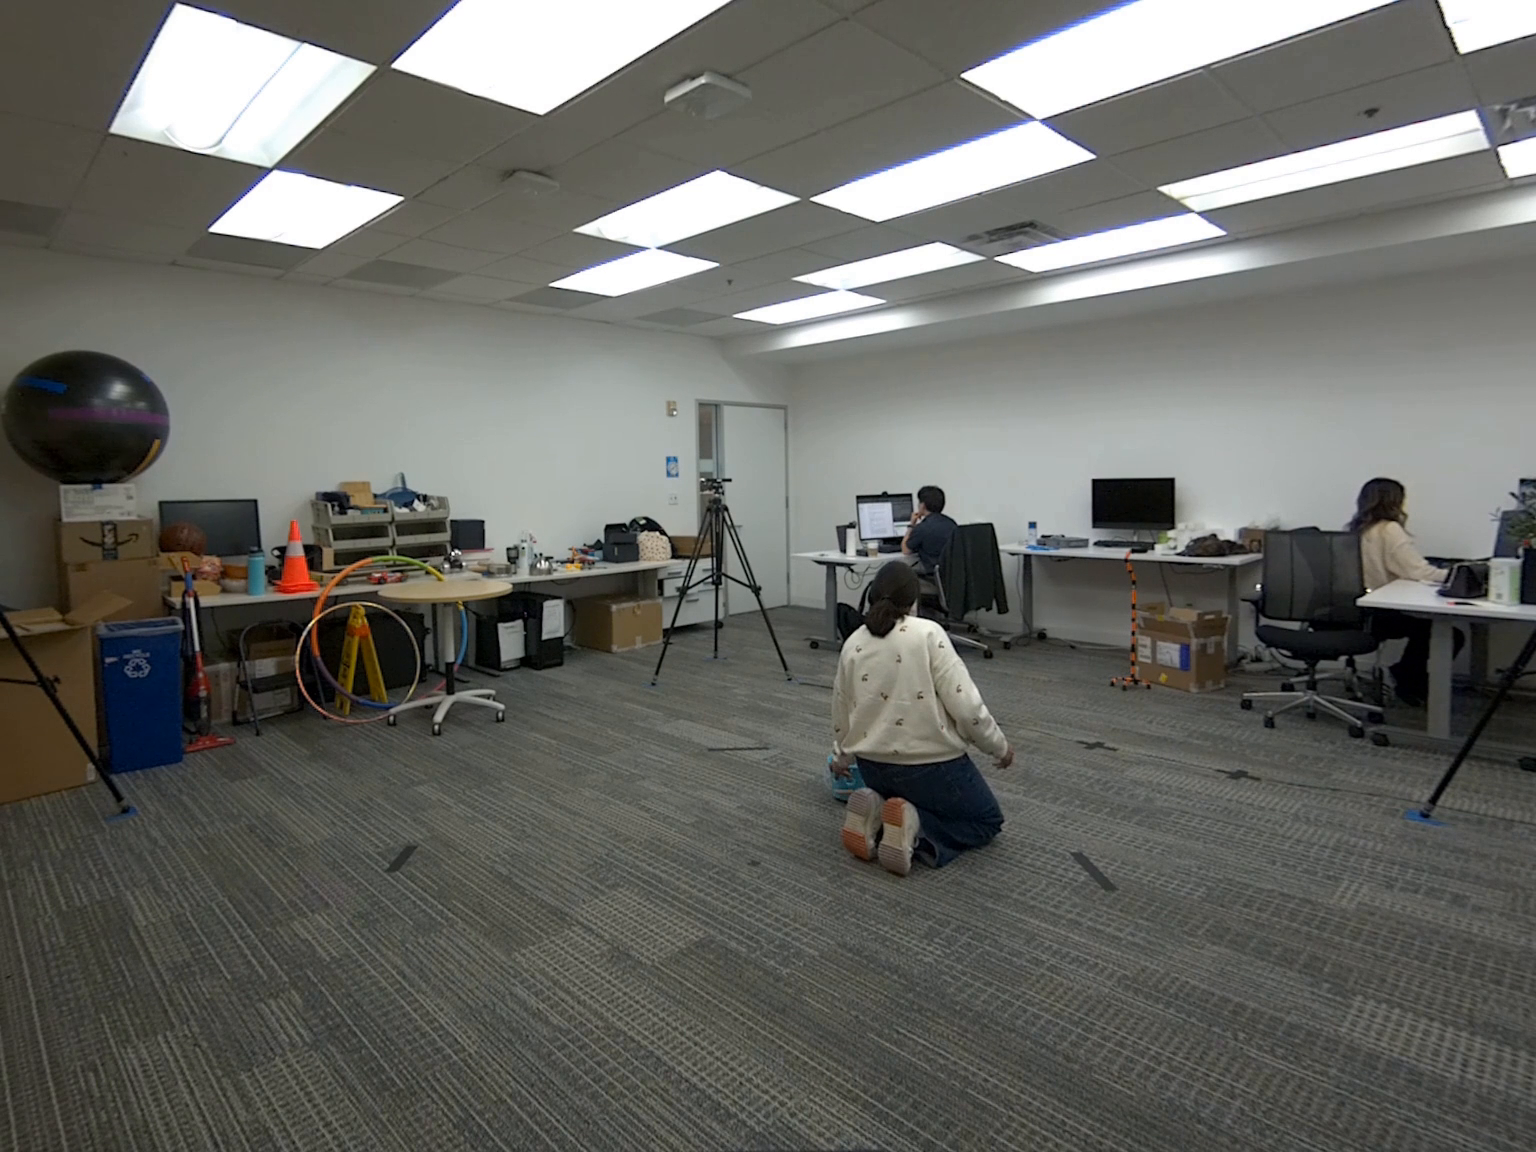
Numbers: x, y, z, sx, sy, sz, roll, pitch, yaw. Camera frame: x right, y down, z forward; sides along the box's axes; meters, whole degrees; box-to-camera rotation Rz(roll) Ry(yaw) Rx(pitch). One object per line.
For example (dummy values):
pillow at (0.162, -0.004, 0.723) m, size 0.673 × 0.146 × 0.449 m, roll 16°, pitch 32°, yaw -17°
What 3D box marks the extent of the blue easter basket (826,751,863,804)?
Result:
blue easter basket at (0.390, 0.870, 3.731) m, size 0.243 × 0.155 × 0.244 m, roll -1°, pitch 3°, yaw -2°
